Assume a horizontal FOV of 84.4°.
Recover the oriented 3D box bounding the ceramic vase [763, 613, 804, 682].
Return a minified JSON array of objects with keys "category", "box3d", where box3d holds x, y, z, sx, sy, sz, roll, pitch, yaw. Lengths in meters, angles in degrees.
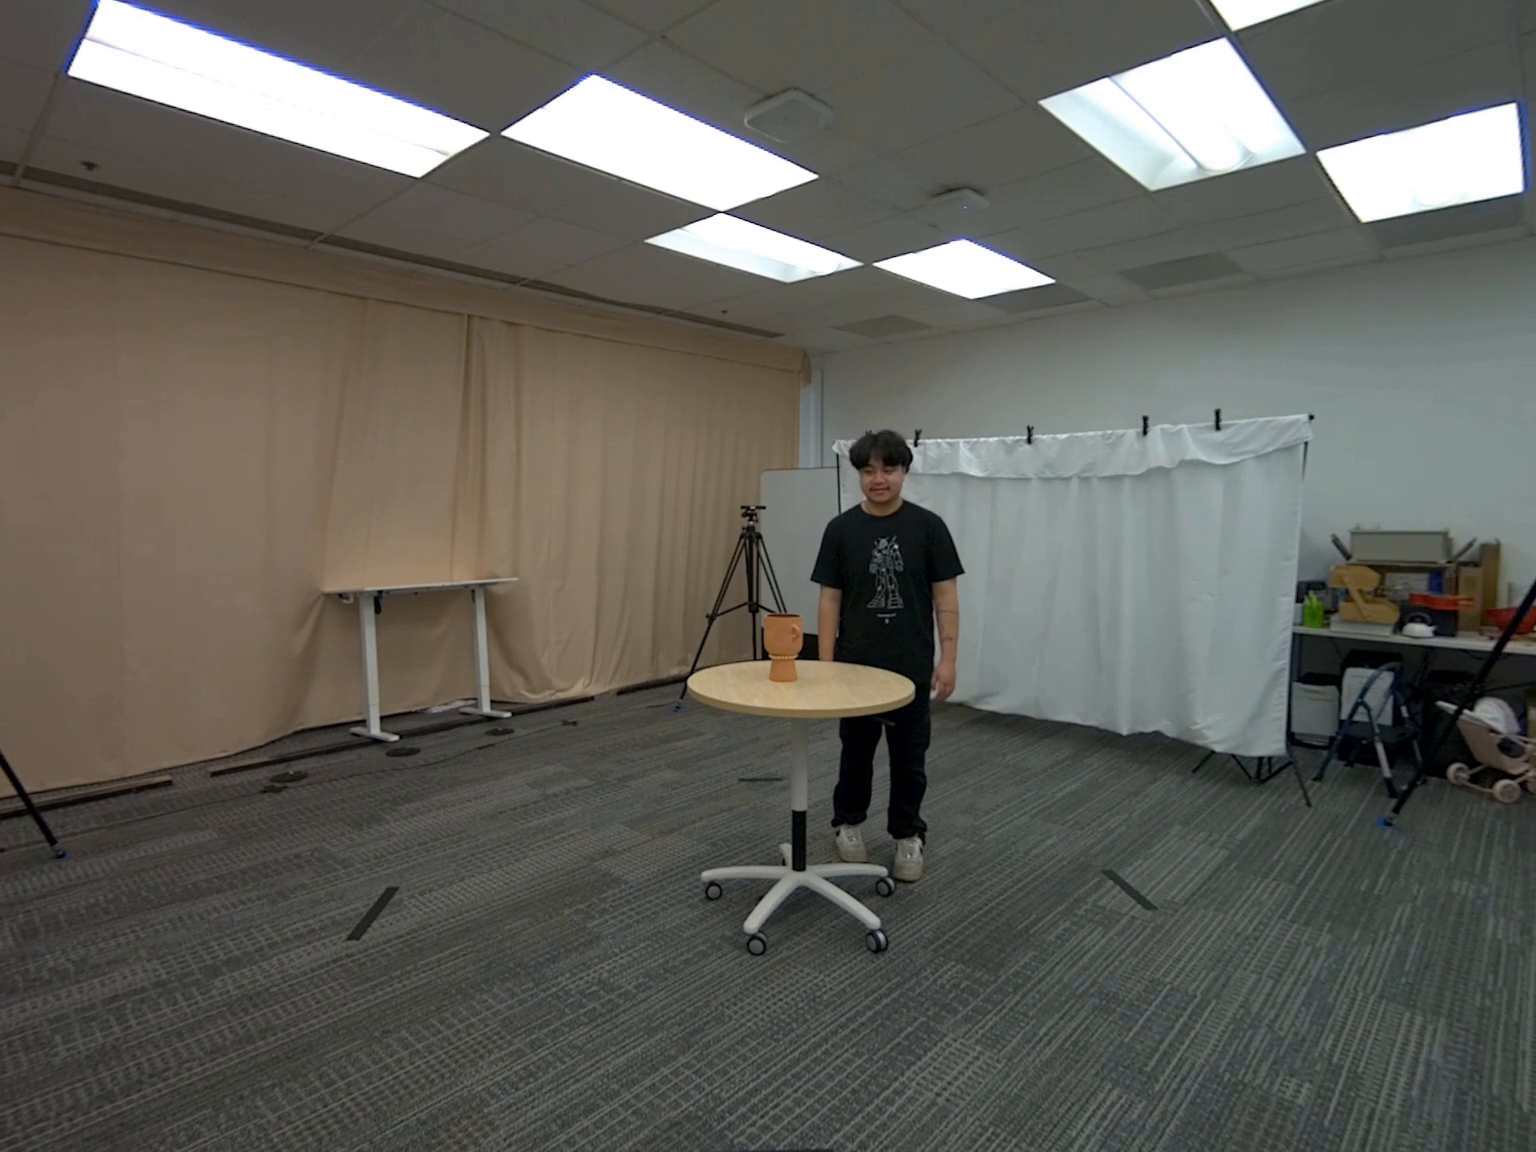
[{"category":"ceramic vase","box3d":[0.057,0.248,2.898,0.155,0.219,0.138,0,5,-25]}]
